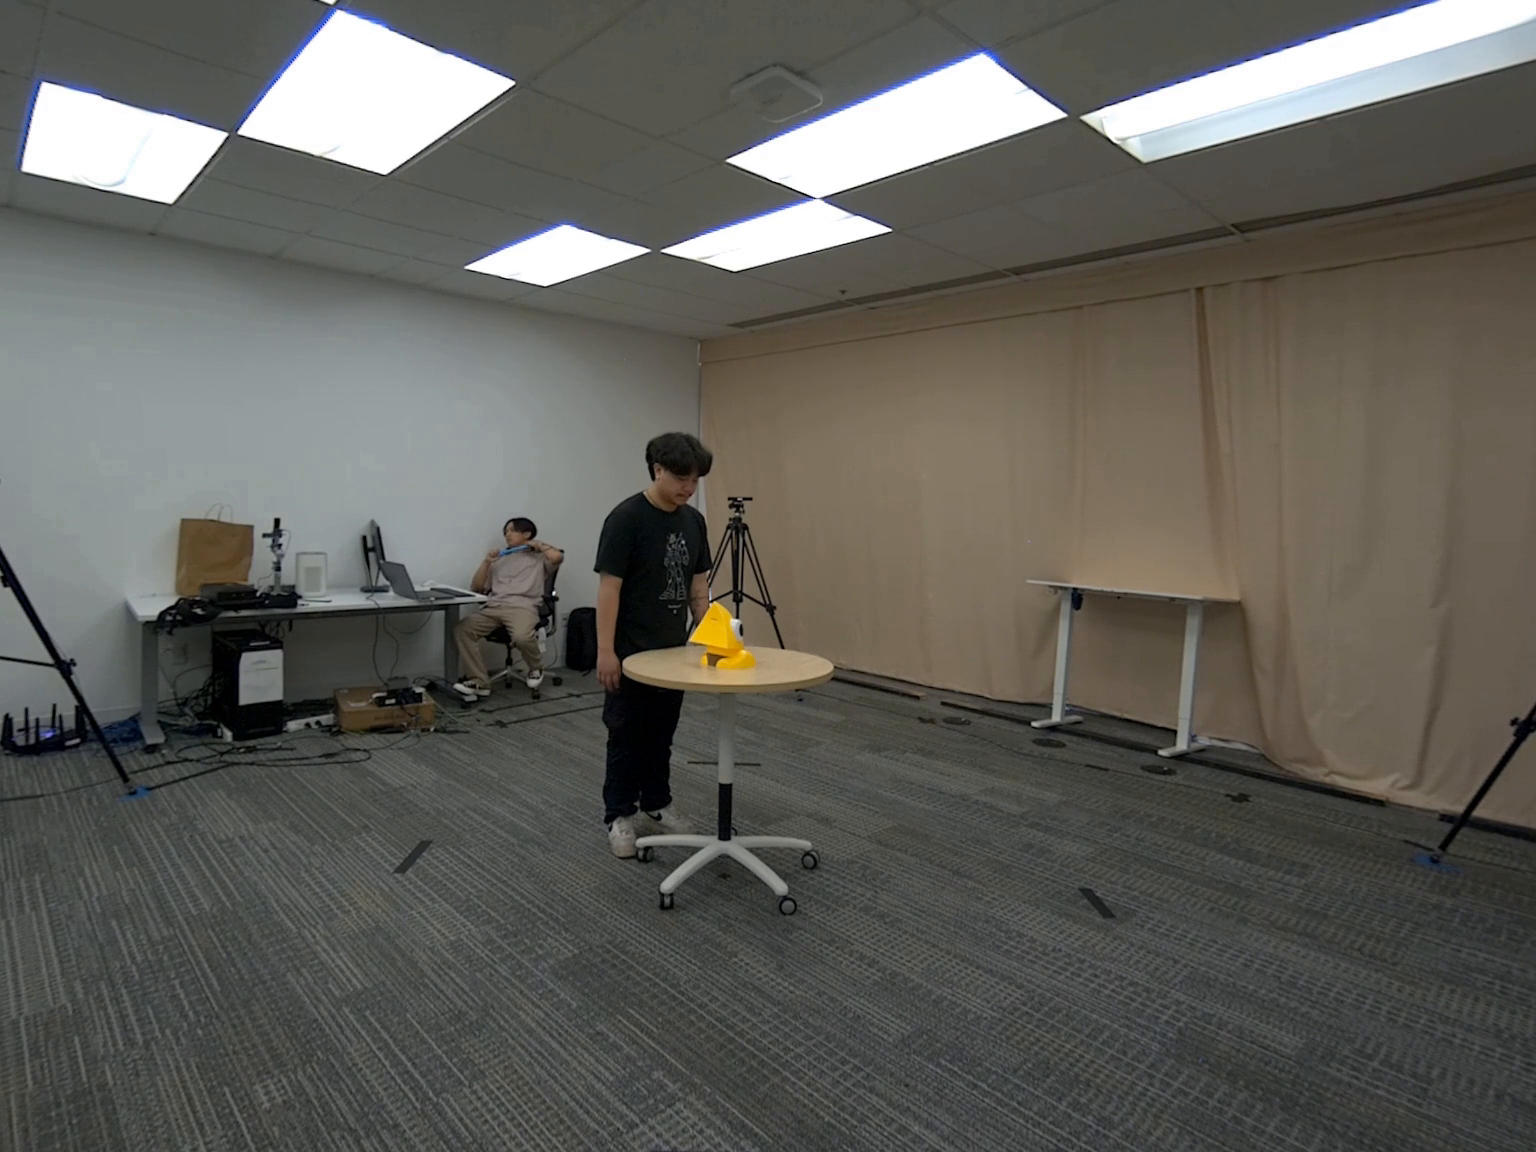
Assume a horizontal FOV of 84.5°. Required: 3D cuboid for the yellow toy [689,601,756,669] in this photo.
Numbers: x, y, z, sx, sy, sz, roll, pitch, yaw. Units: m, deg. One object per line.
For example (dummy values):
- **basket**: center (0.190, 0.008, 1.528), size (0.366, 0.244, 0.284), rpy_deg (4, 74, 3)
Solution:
- **yellow toy**: center (-0.155, 0.207, 3.042), size (0.188, 0.230, 0.210), rpy_deg (-2, 4, -45)
